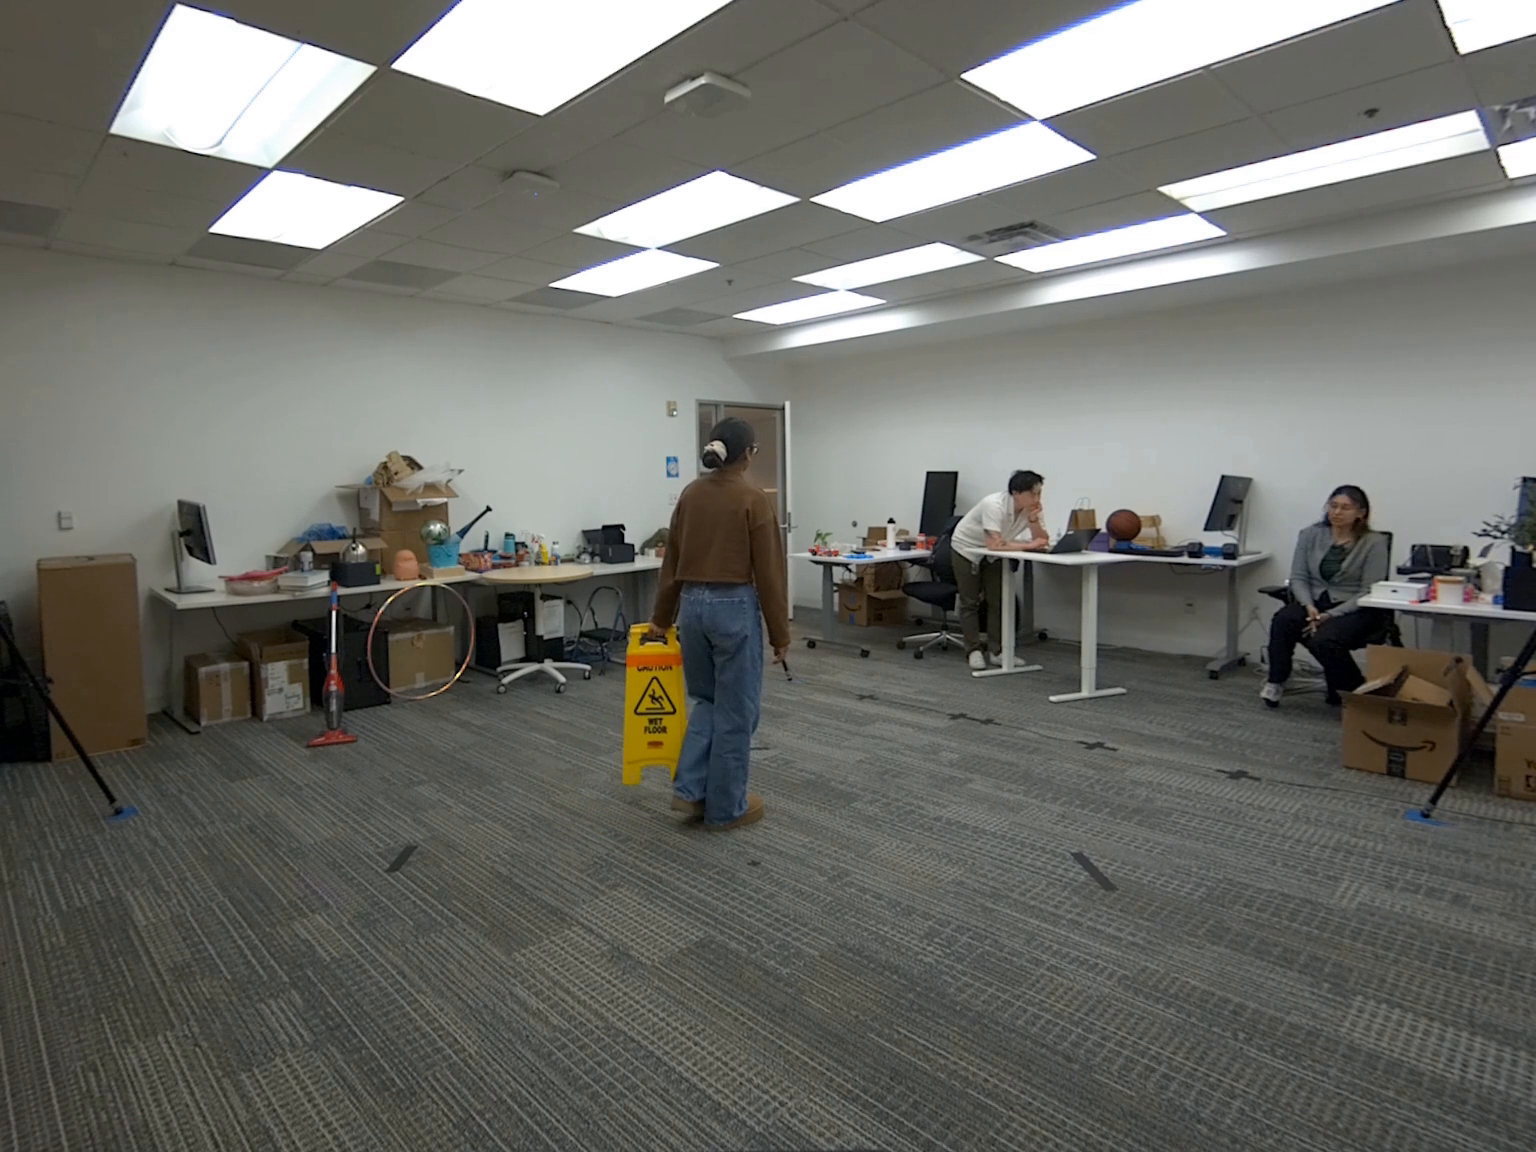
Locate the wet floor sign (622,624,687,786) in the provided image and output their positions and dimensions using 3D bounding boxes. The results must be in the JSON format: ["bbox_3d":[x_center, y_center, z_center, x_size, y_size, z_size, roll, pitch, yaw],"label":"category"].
[{"bbox_3d":[-0.483,0.534,3.680,0.281,0.643,0.292,-1,6,-5],"label":"wet floor sign"}]
